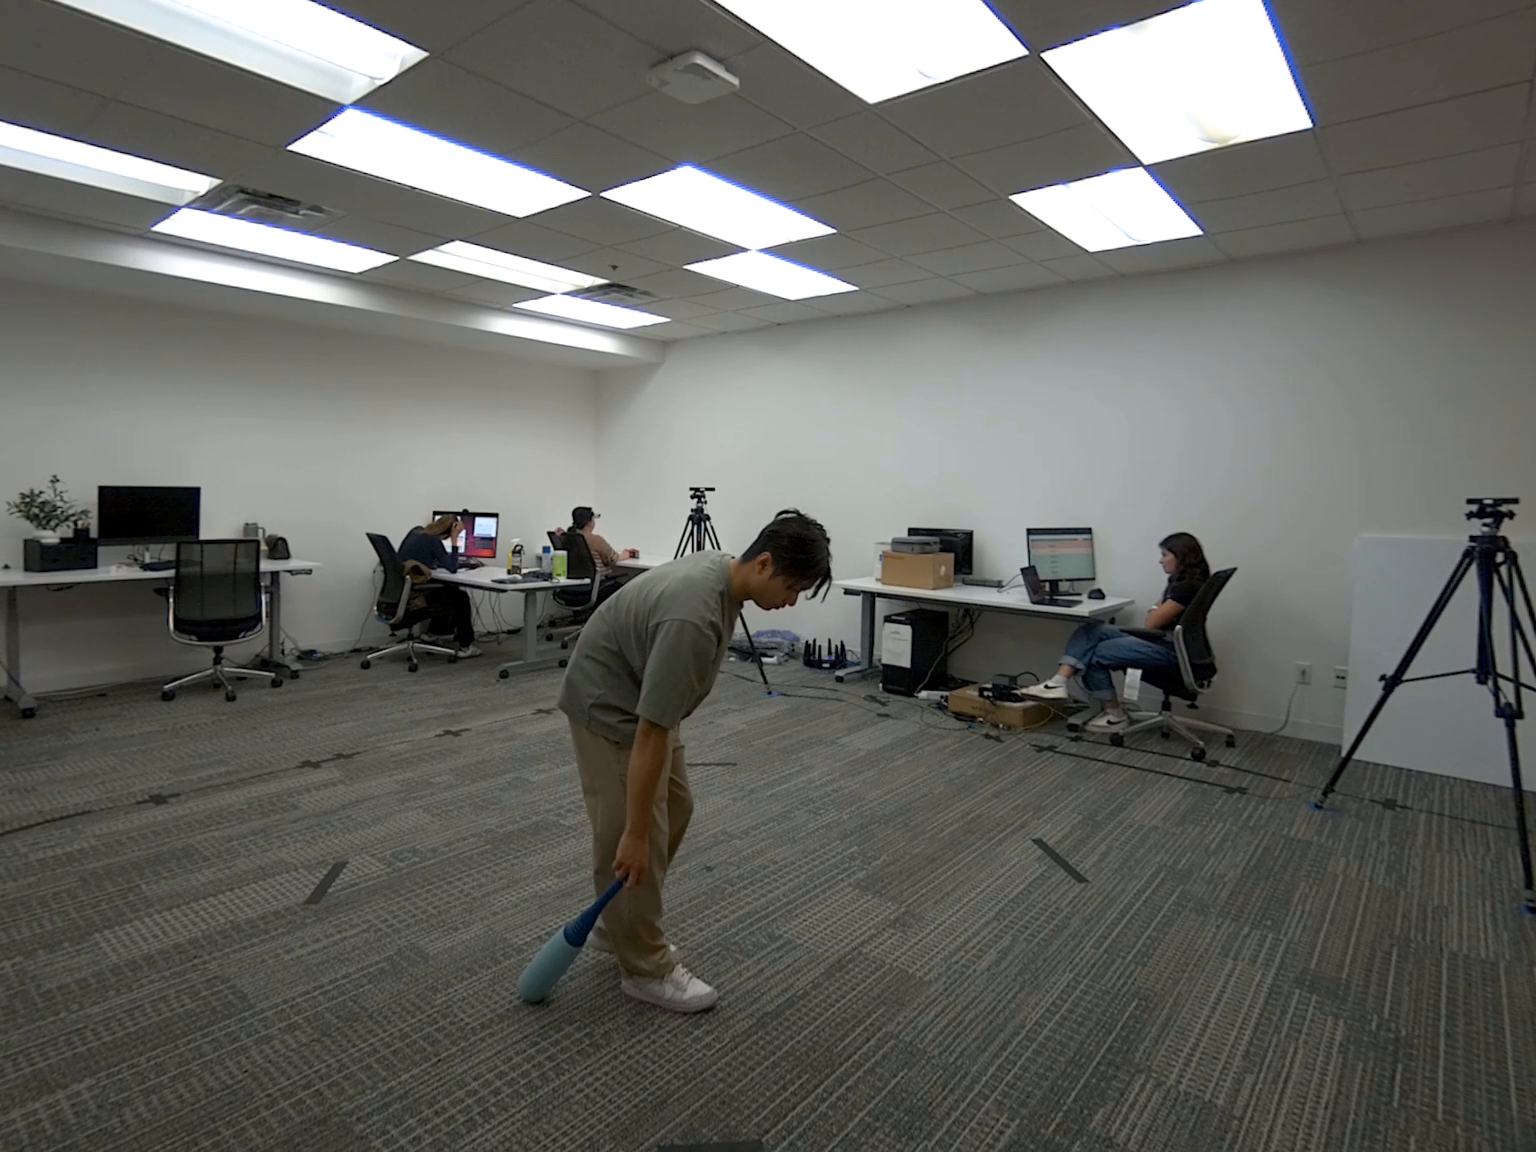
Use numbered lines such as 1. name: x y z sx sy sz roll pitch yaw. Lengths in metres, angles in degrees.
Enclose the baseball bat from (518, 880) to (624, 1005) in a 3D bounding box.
1. baseball bat: -0.505 0.925 2.211 0.087 0.542 0.091 32 23 -17
